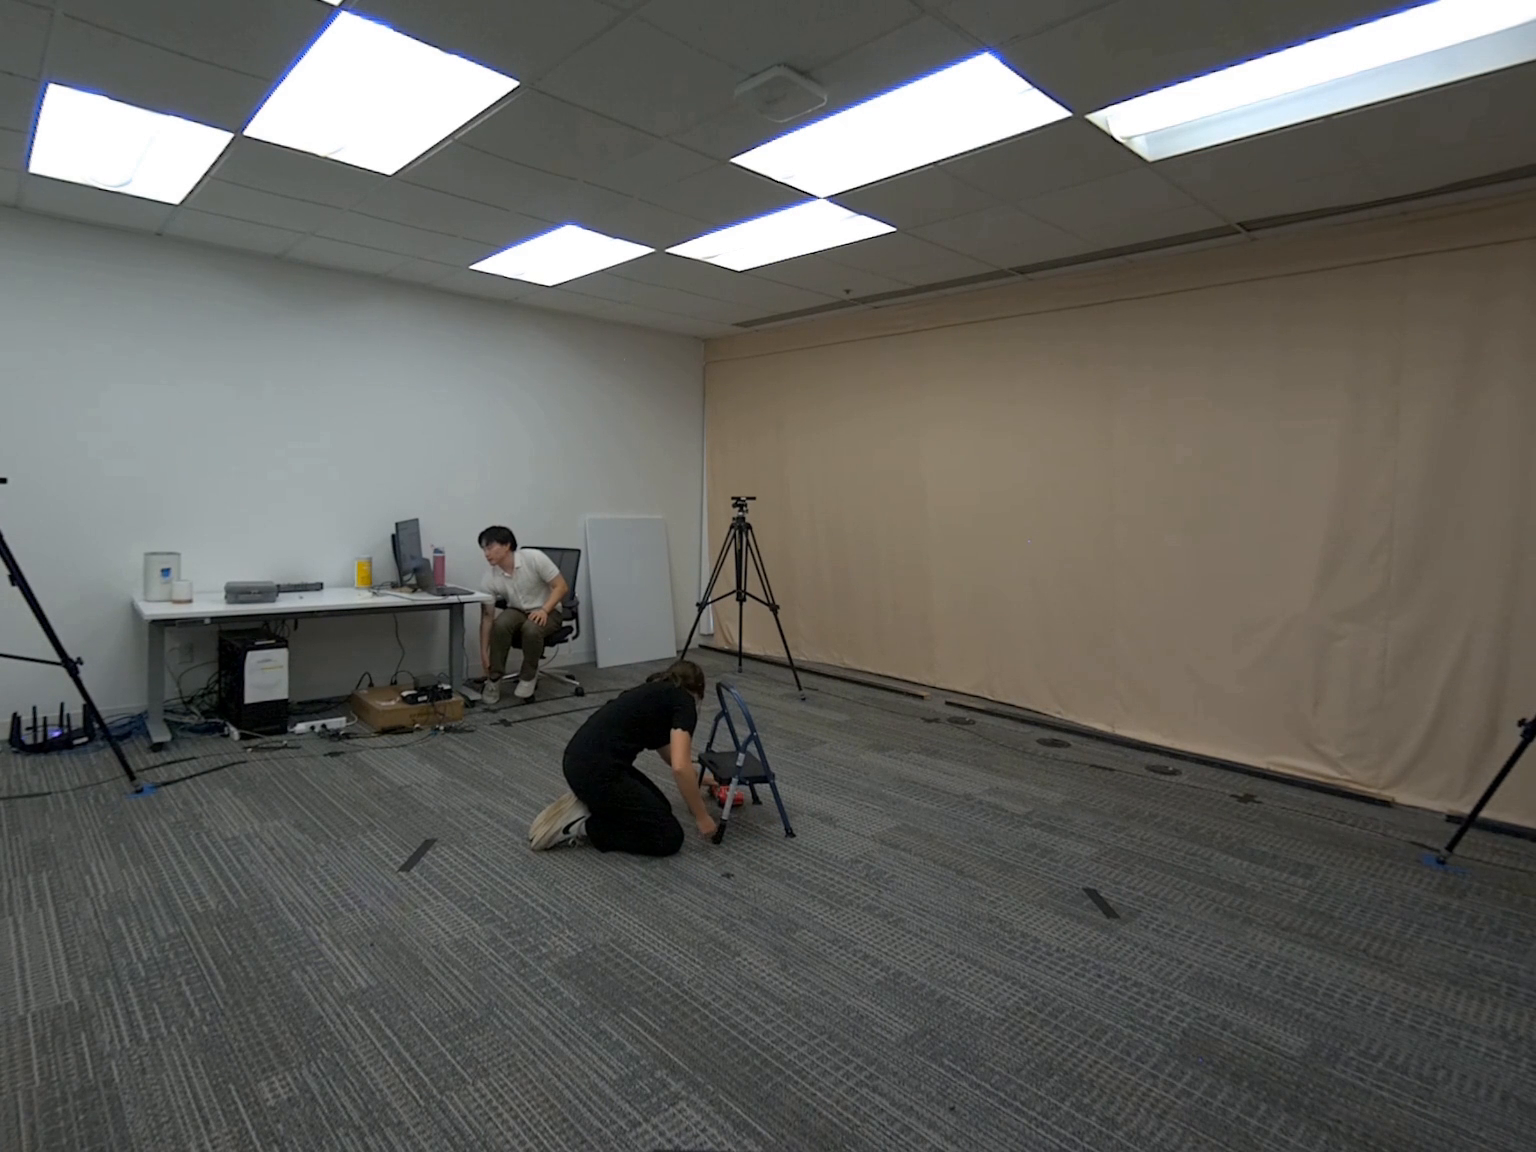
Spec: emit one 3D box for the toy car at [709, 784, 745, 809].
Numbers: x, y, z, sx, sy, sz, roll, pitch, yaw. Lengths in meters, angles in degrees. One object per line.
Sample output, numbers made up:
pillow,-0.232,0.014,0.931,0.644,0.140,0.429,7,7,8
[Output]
toy car,-0.201,1.012,3.887,0.128,0.083,0.257,4,-7,-21
